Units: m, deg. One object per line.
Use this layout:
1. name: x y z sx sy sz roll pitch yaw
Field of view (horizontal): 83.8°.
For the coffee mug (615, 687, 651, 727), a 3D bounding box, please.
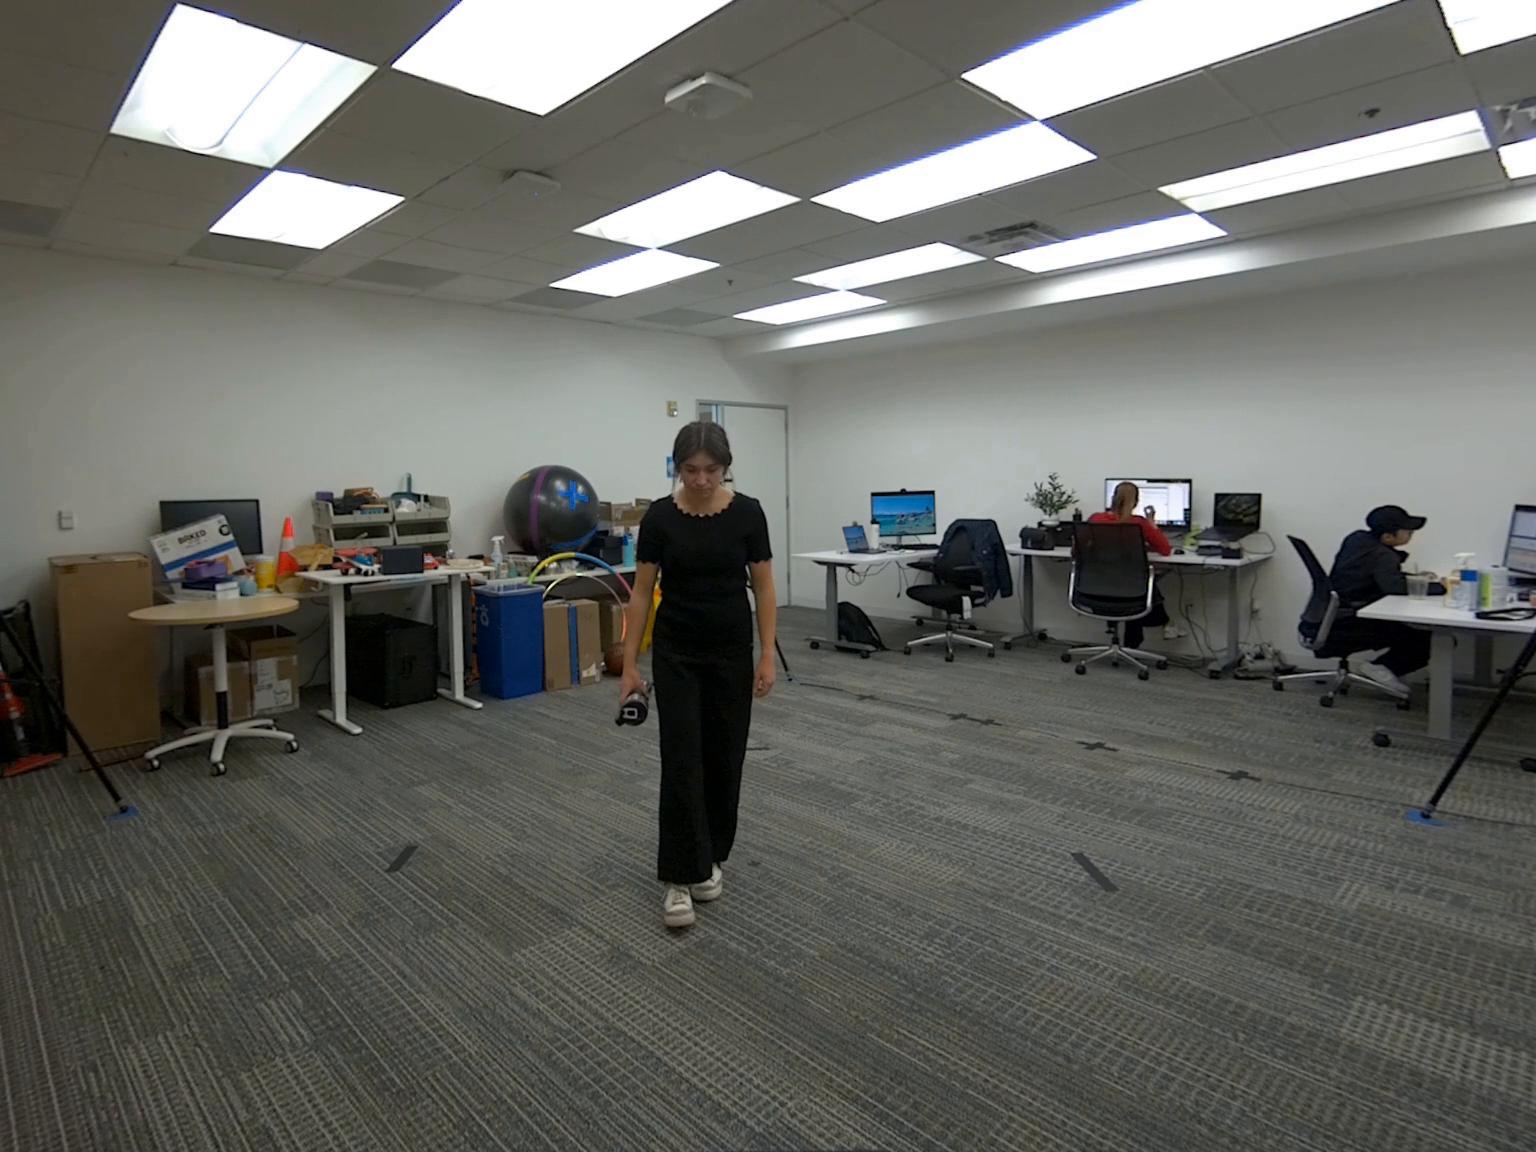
1. coffee mug: -0.448 0.417 2.807 0.122 0.086 0.206 -16 17 0
